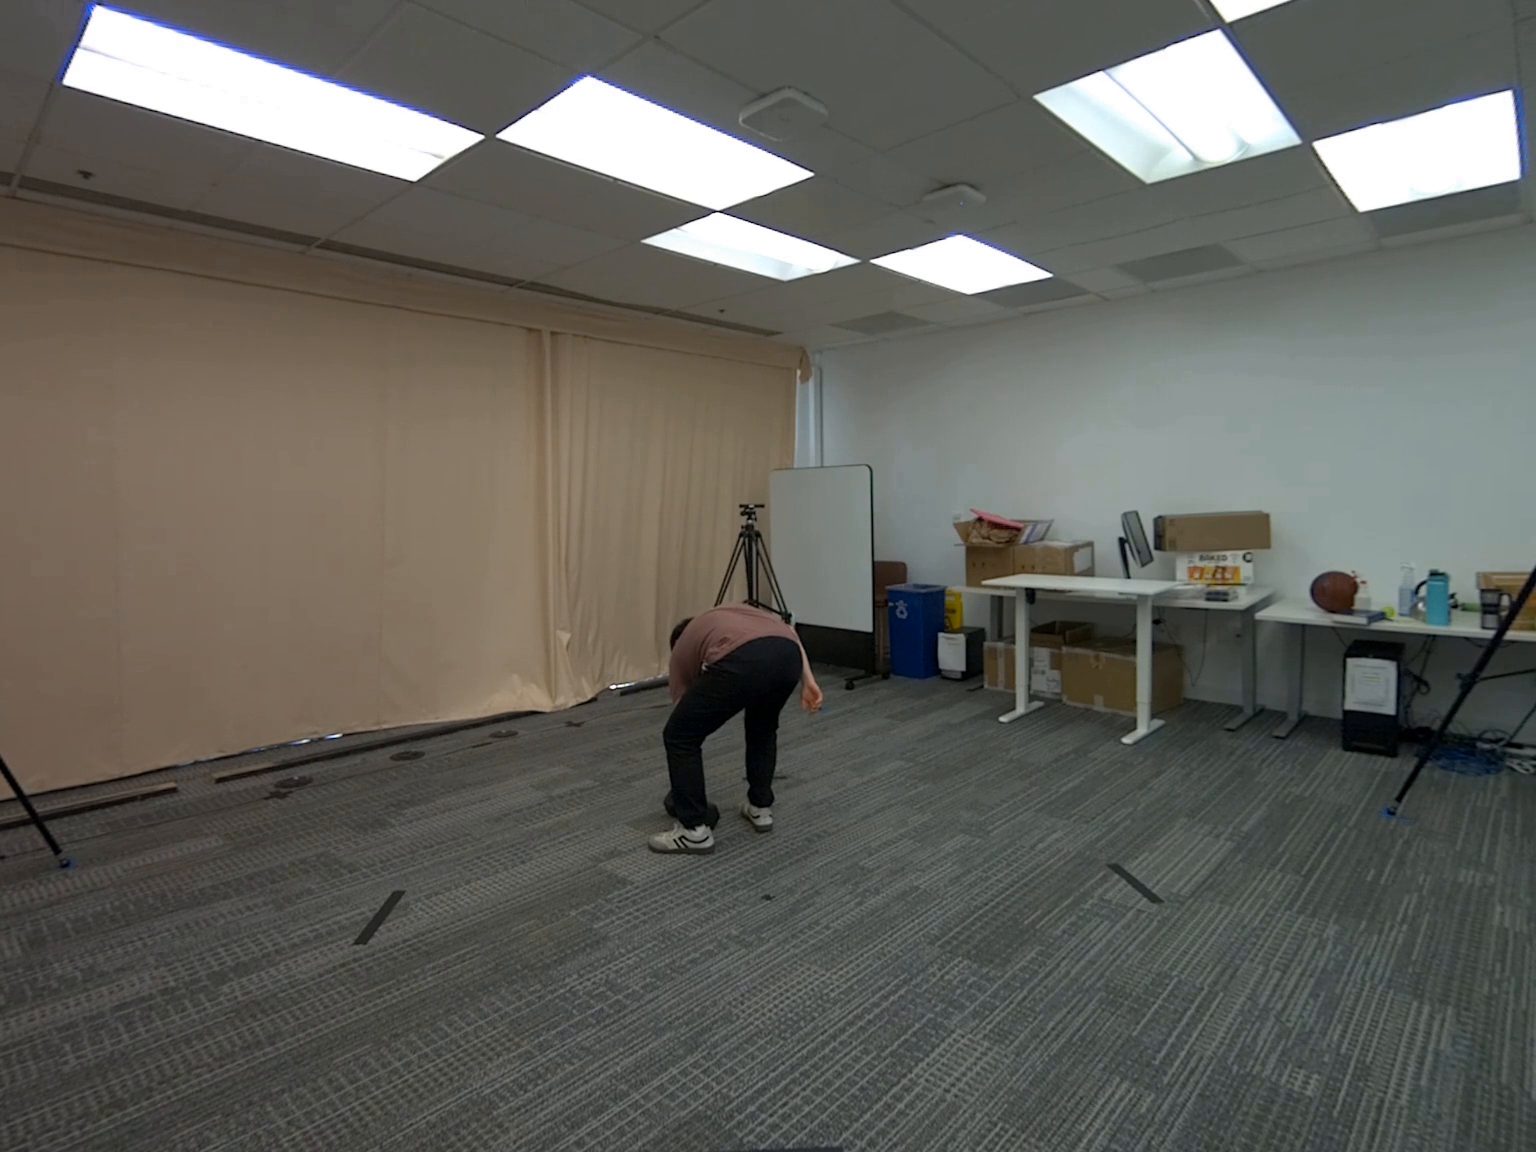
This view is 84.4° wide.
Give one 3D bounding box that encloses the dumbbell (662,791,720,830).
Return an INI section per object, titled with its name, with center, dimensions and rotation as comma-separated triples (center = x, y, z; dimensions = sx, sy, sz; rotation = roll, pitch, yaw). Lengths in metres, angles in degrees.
[dumbbell]
center = -0.338, 1.031, 3.710
dimensions = 0.303, 0.123, 0.105
rotation = 6, -31, 51
